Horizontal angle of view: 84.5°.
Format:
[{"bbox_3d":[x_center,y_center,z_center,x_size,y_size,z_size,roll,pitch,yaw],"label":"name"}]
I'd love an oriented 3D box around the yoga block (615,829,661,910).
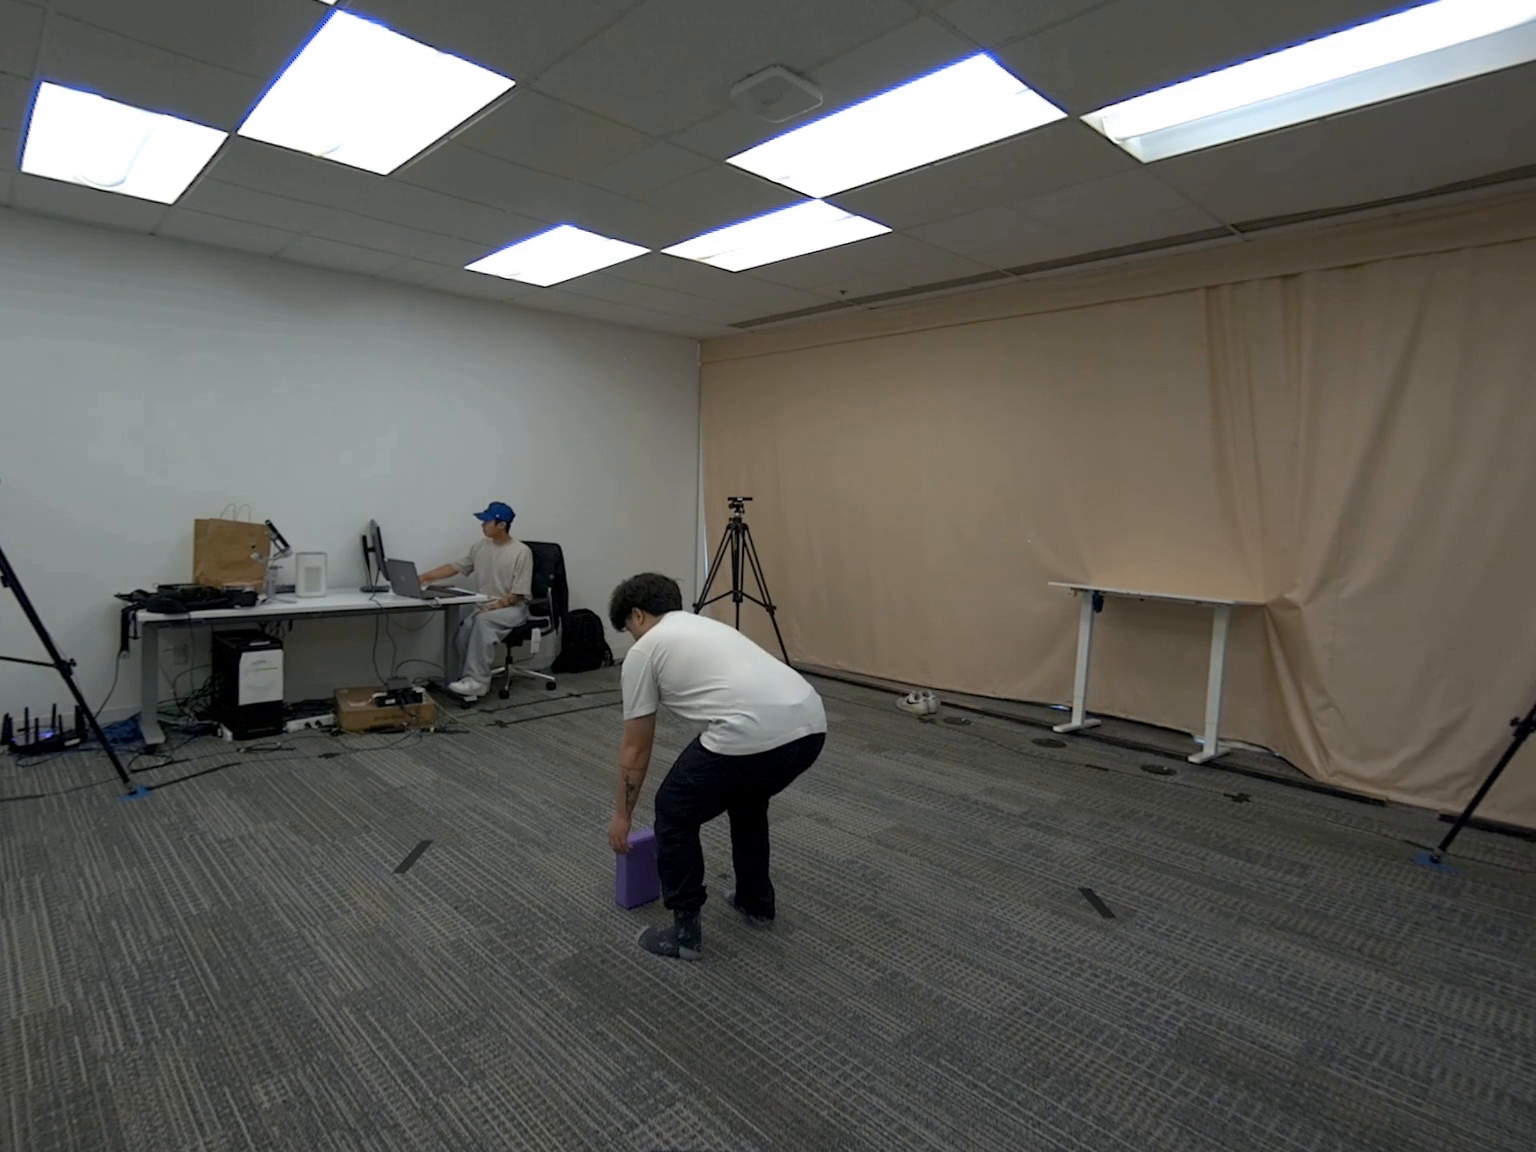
[{"bbox_3d":[-0.448,1.006,2.891,0.078,0.228,0.146,5,7,43],"label":"yoga block"}]
